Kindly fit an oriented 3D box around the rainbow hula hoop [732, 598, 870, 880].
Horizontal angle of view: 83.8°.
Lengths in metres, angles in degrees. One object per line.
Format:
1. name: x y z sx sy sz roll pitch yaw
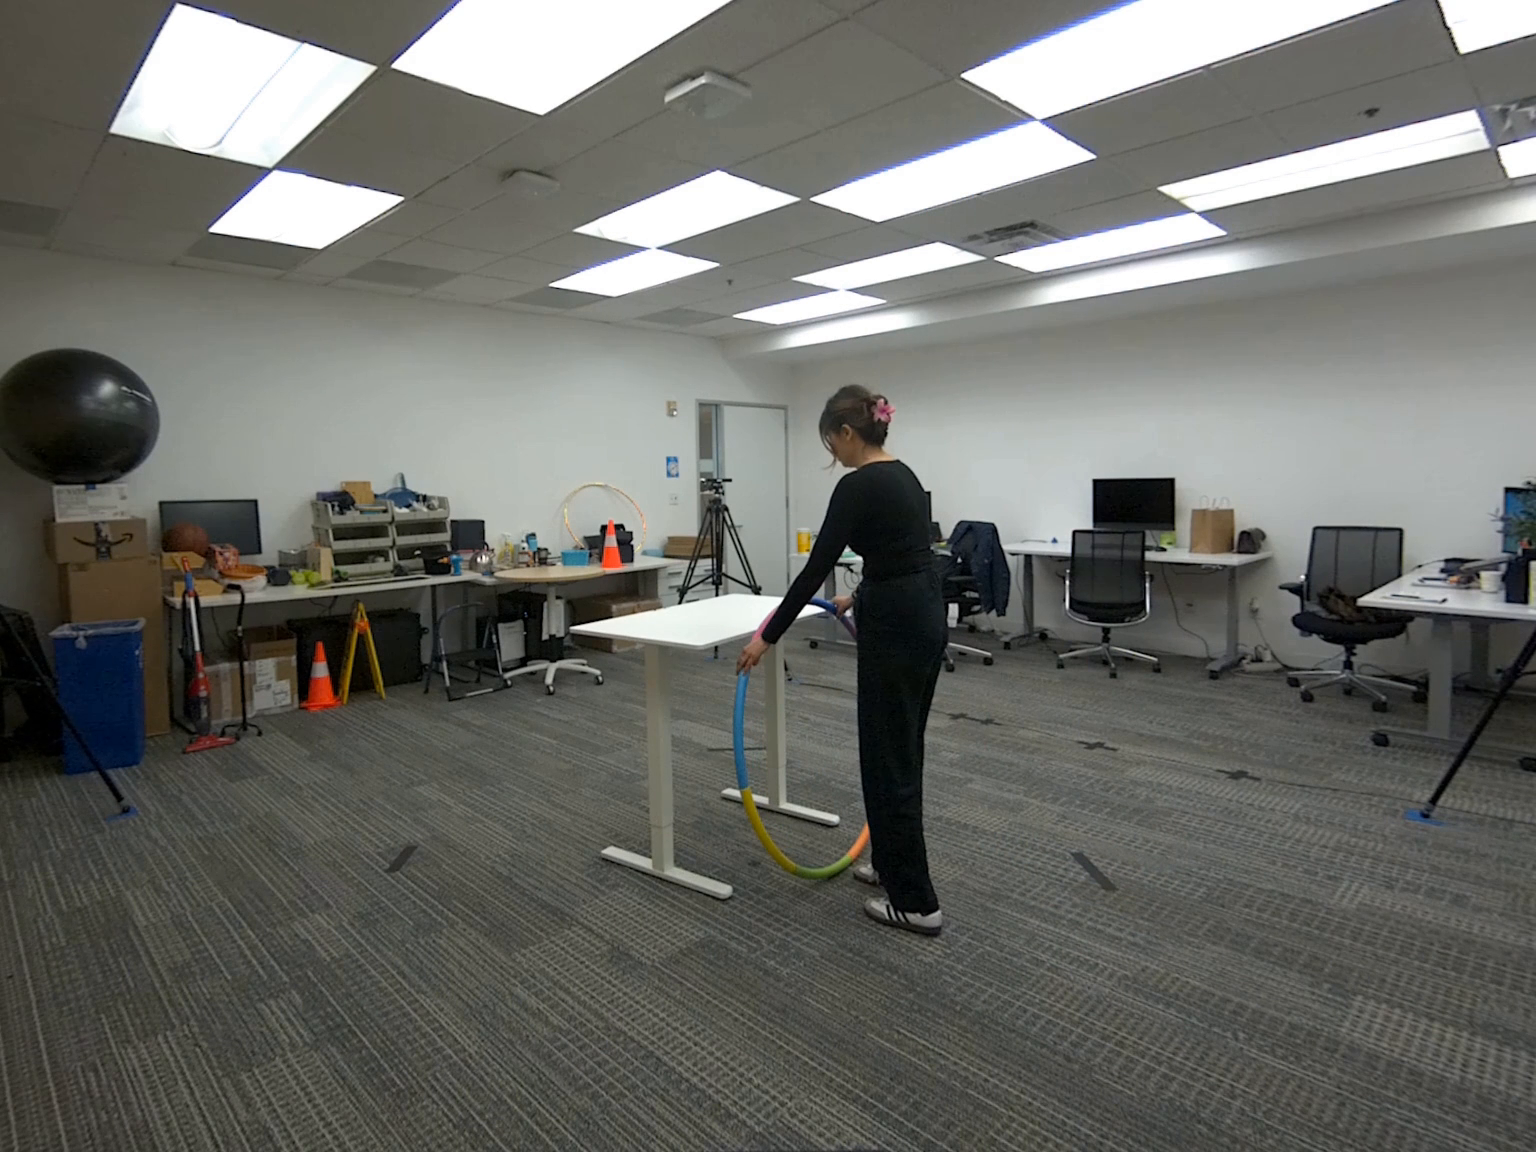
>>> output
1. rainbow hula hoop: 0.192 0.556 3.067 0.036 0.982 0.954 -12 -3 36
